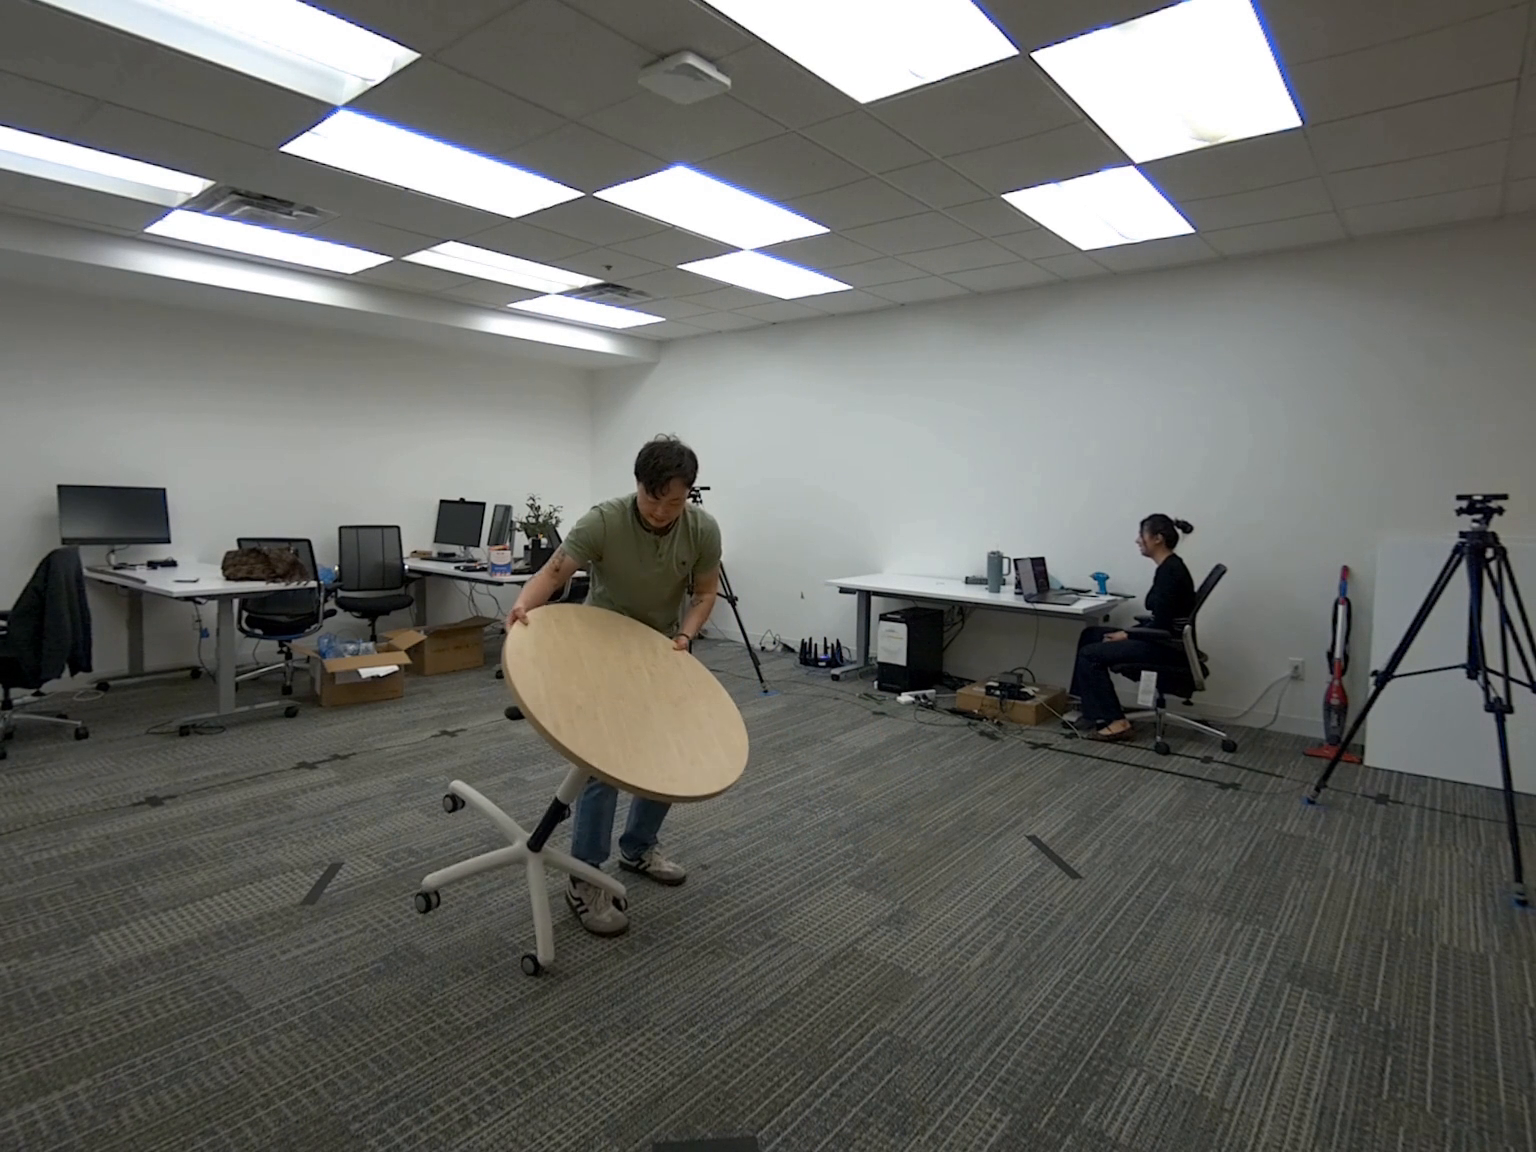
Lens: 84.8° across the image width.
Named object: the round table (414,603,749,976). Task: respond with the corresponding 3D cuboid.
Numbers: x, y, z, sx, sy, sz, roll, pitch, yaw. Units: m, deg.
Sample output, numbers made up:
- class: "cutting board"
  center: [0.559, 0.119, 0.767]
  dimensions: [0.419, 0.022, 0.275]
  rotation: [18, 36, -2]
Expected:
- class: "round table"
  center: [-0.597, 0.637, 2.544]
  dimensions: [0.752, 0.790, 0.781]
  rotation: [27, 20, -13]
